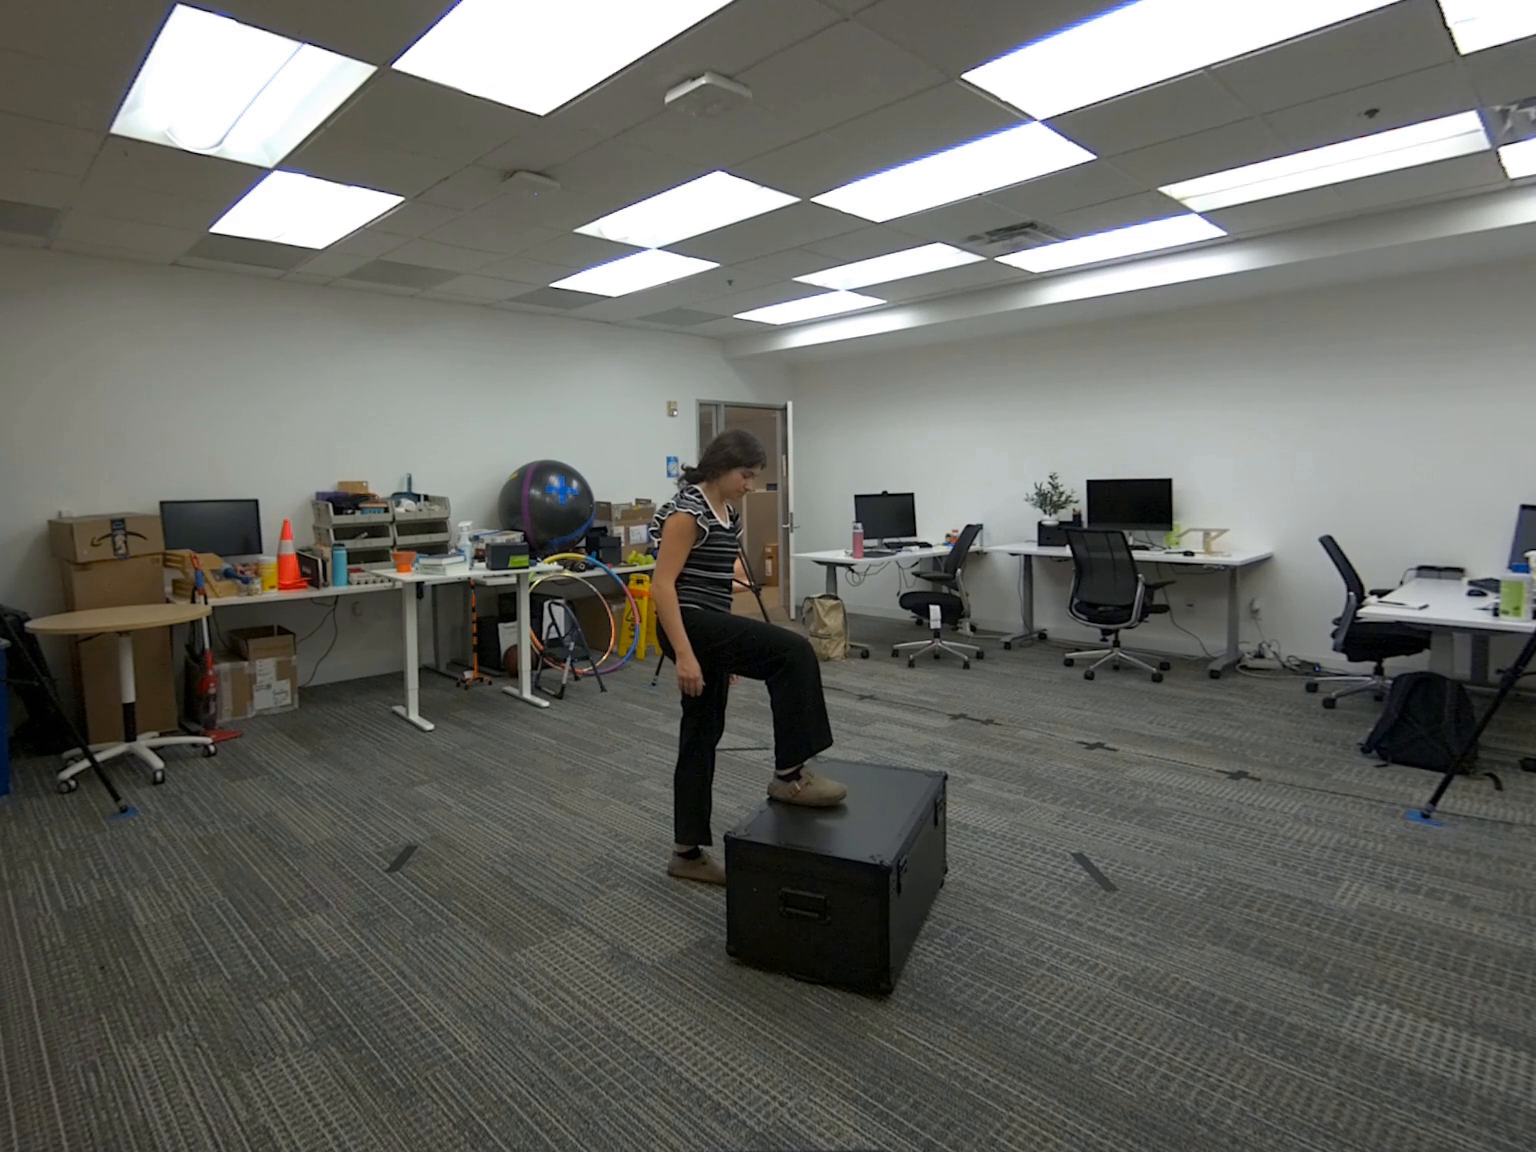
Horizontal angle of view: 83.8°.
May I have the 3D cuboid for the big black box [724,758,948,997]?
[{"bbox_3d":[0.264,0.892,2.730,0.533,0.394,0.846,1,6,24],"label":"big black box"}]
